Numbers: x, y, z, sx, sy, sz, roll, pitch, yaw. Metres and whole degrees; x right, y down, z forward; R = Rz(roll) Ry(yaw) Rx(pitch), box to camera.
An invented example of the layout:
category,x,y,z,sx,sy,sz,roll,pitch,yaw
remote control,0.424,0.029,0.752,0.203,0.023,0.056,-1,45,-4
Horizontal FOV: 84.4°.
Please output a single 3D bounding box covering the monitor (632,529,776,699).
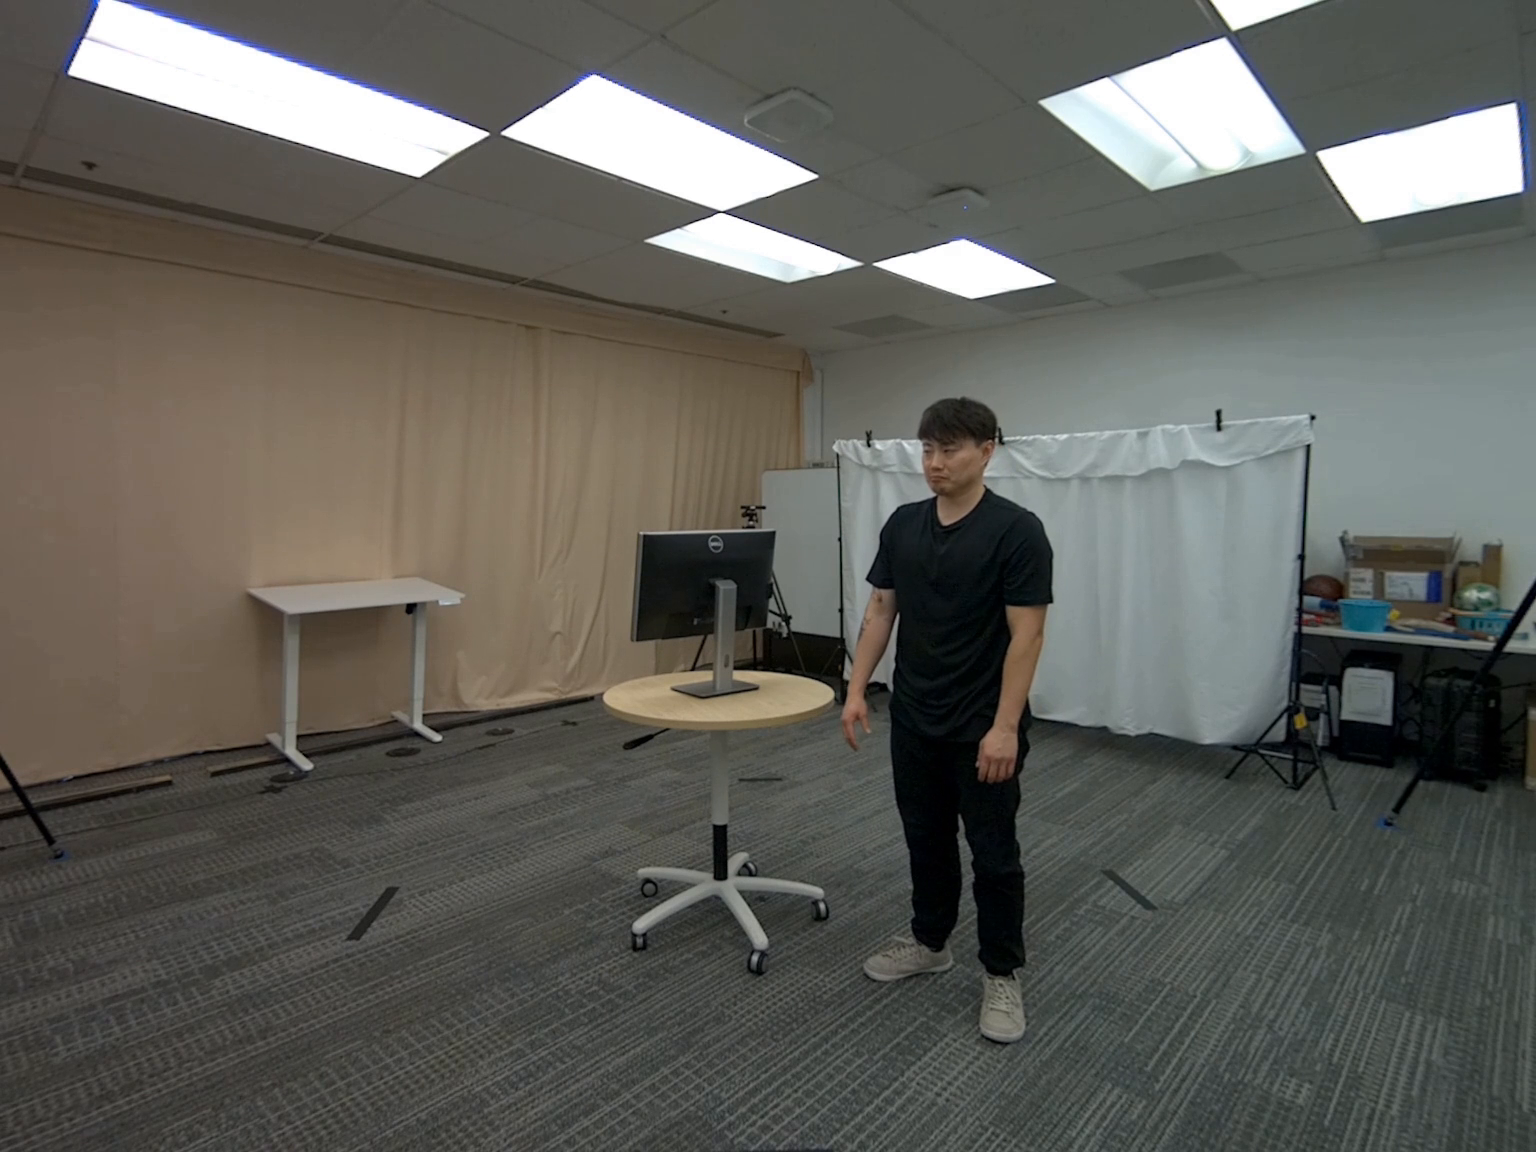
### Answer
category,x,y,z,sx,sy,sz,roll,pitch,yaw
monitor,-0.182,0.123,2.837,0.523,0.522,0.193,-3,2,-39
